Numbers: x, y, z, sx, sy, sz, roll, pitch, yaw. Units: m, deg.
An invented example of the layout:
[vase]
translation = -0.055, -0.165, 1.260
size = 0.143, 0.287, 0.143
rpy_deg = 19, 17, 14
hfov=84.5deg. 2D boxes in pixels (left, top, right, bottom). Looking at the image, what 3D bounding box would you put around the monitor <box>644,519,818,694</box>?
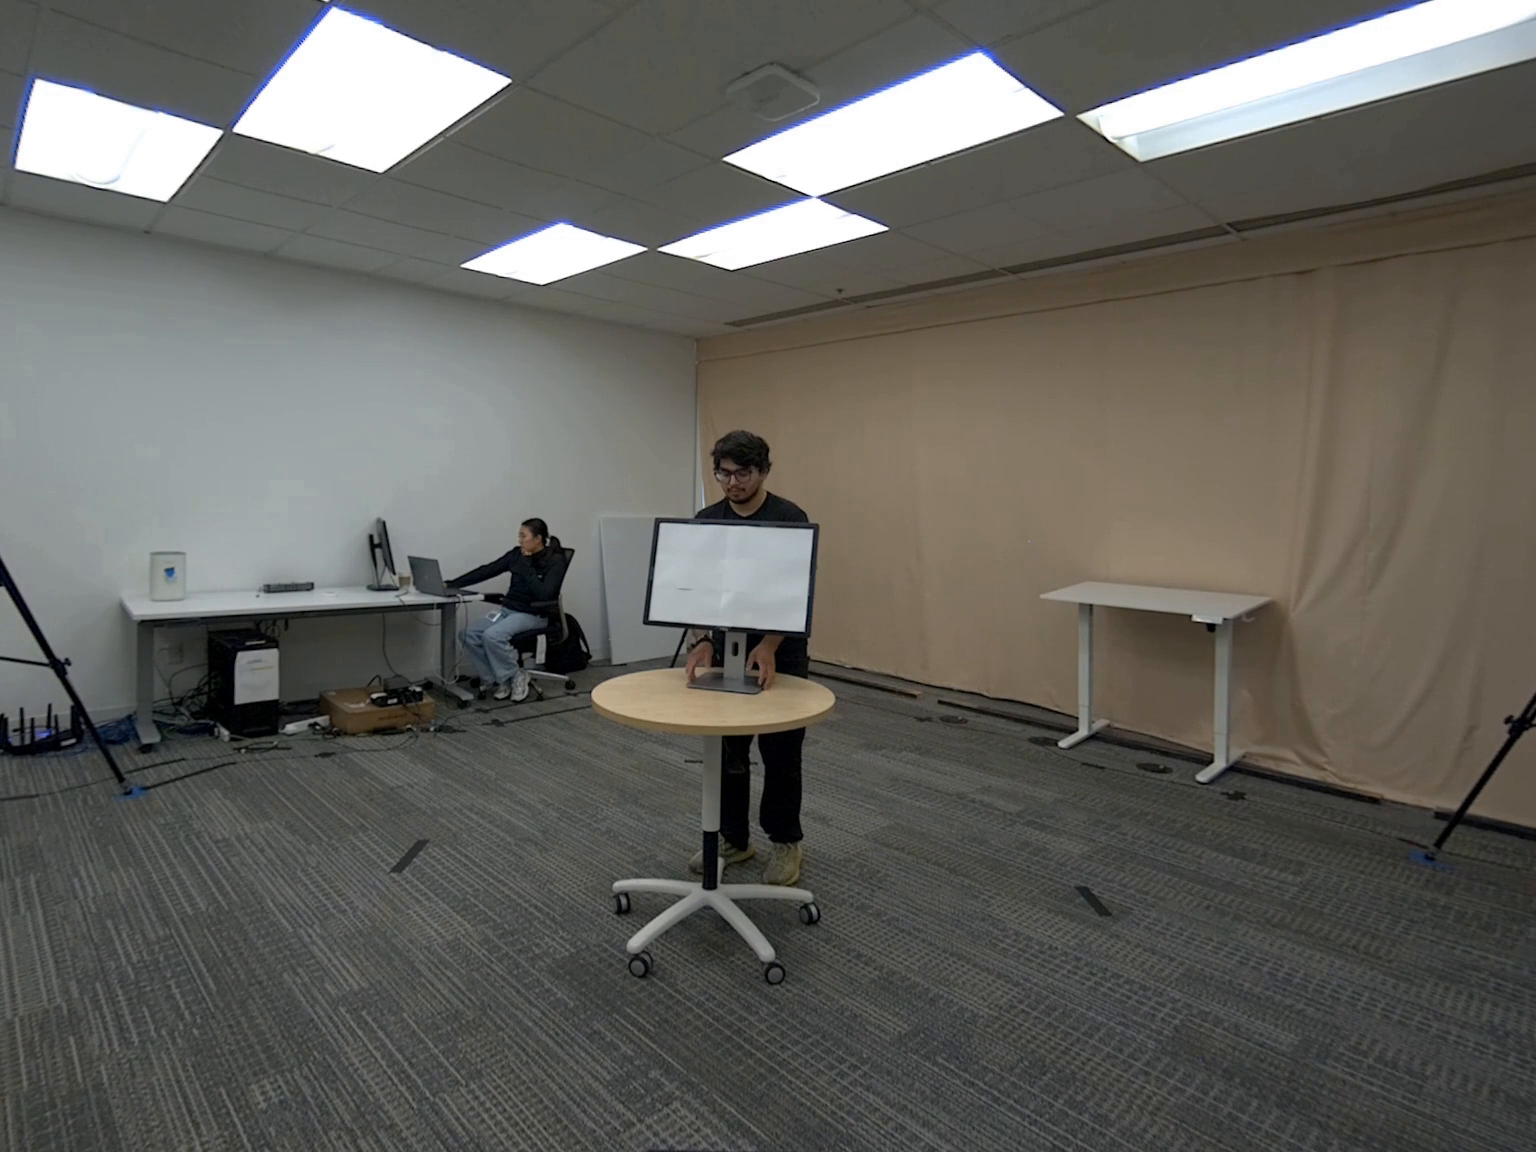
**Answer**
[monitor]
translation = -0.120, 0.095, 2.786
size = 0.573, 0.555, 0.207
rpy_deg = 2, -3, 17
